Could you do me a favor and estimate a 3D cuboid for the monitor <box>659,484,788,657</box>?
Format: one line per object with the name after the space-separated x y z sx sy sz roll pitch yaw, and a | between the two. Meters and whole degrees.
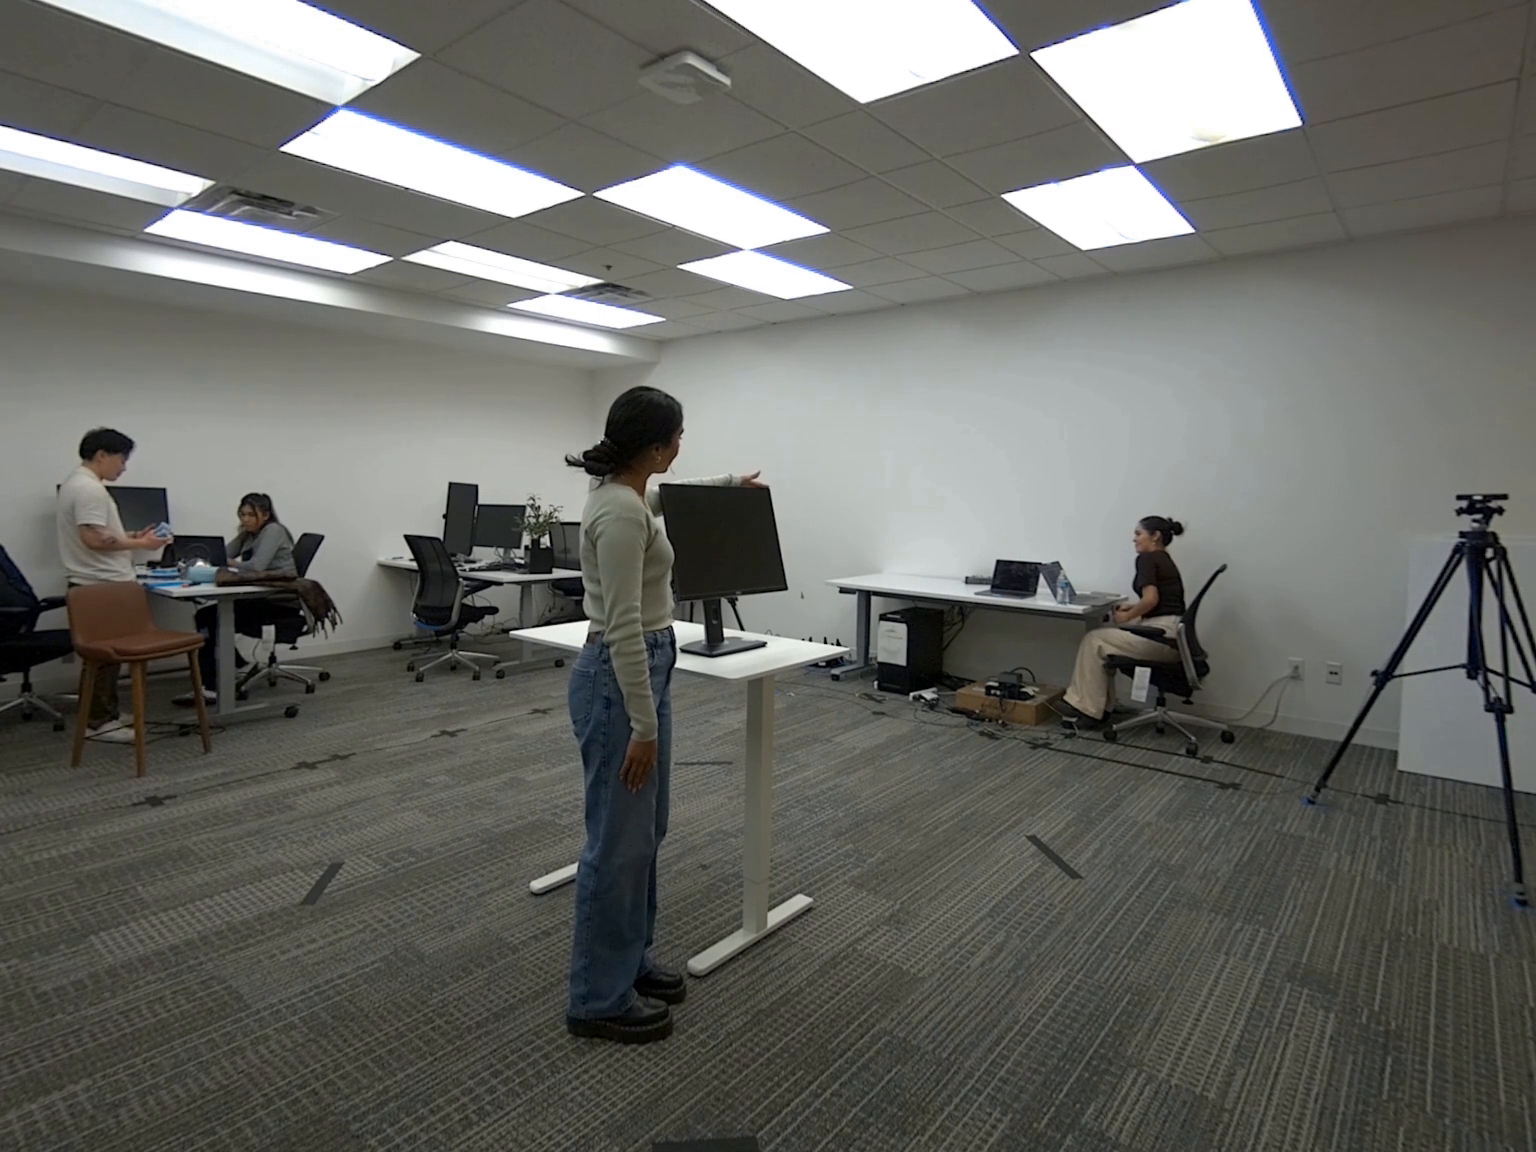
-0.157 -0.025 2.686 0.193 0.522 0.524 0 3 35 | monitor
